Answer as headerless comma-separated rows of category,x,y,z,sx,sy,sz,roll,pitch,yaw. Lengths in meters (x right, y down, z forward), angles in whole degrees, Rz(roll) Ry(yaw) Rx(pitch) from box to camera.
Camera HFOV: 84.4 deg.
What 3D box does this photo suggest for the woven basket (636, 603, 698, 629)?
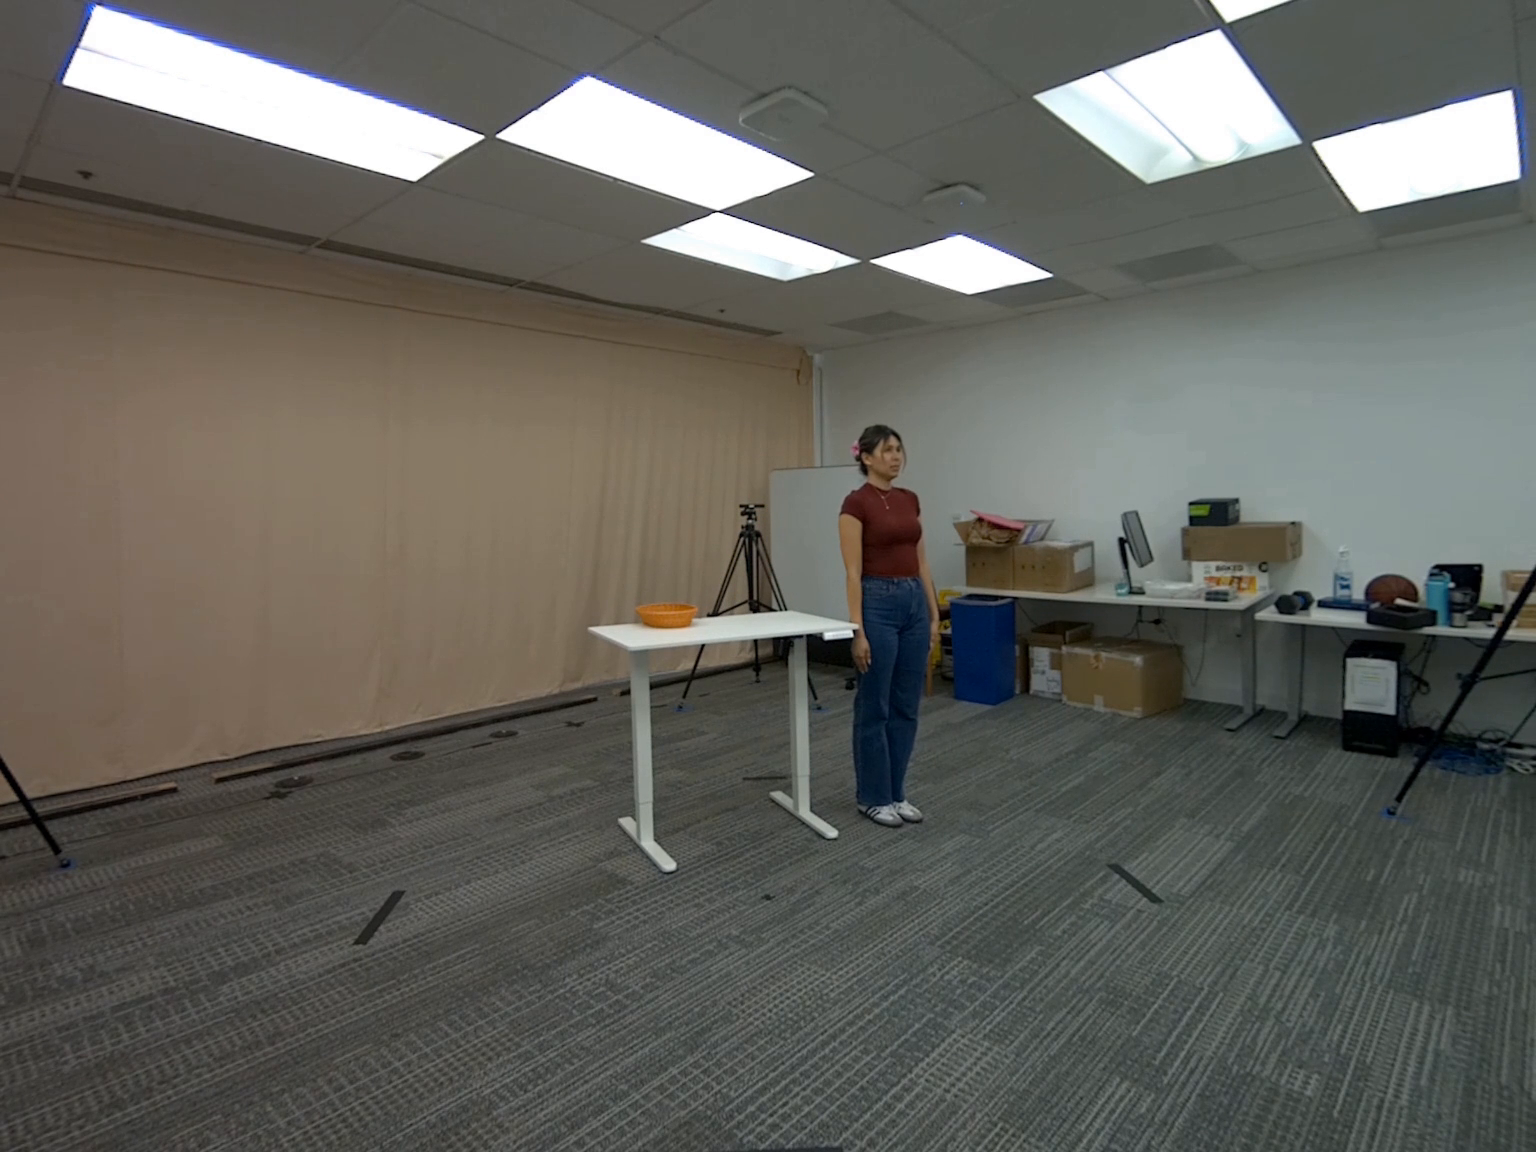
woven basket,-0.460,0.180,3.688,0.247,0.073,0.359,-4,5,-23
